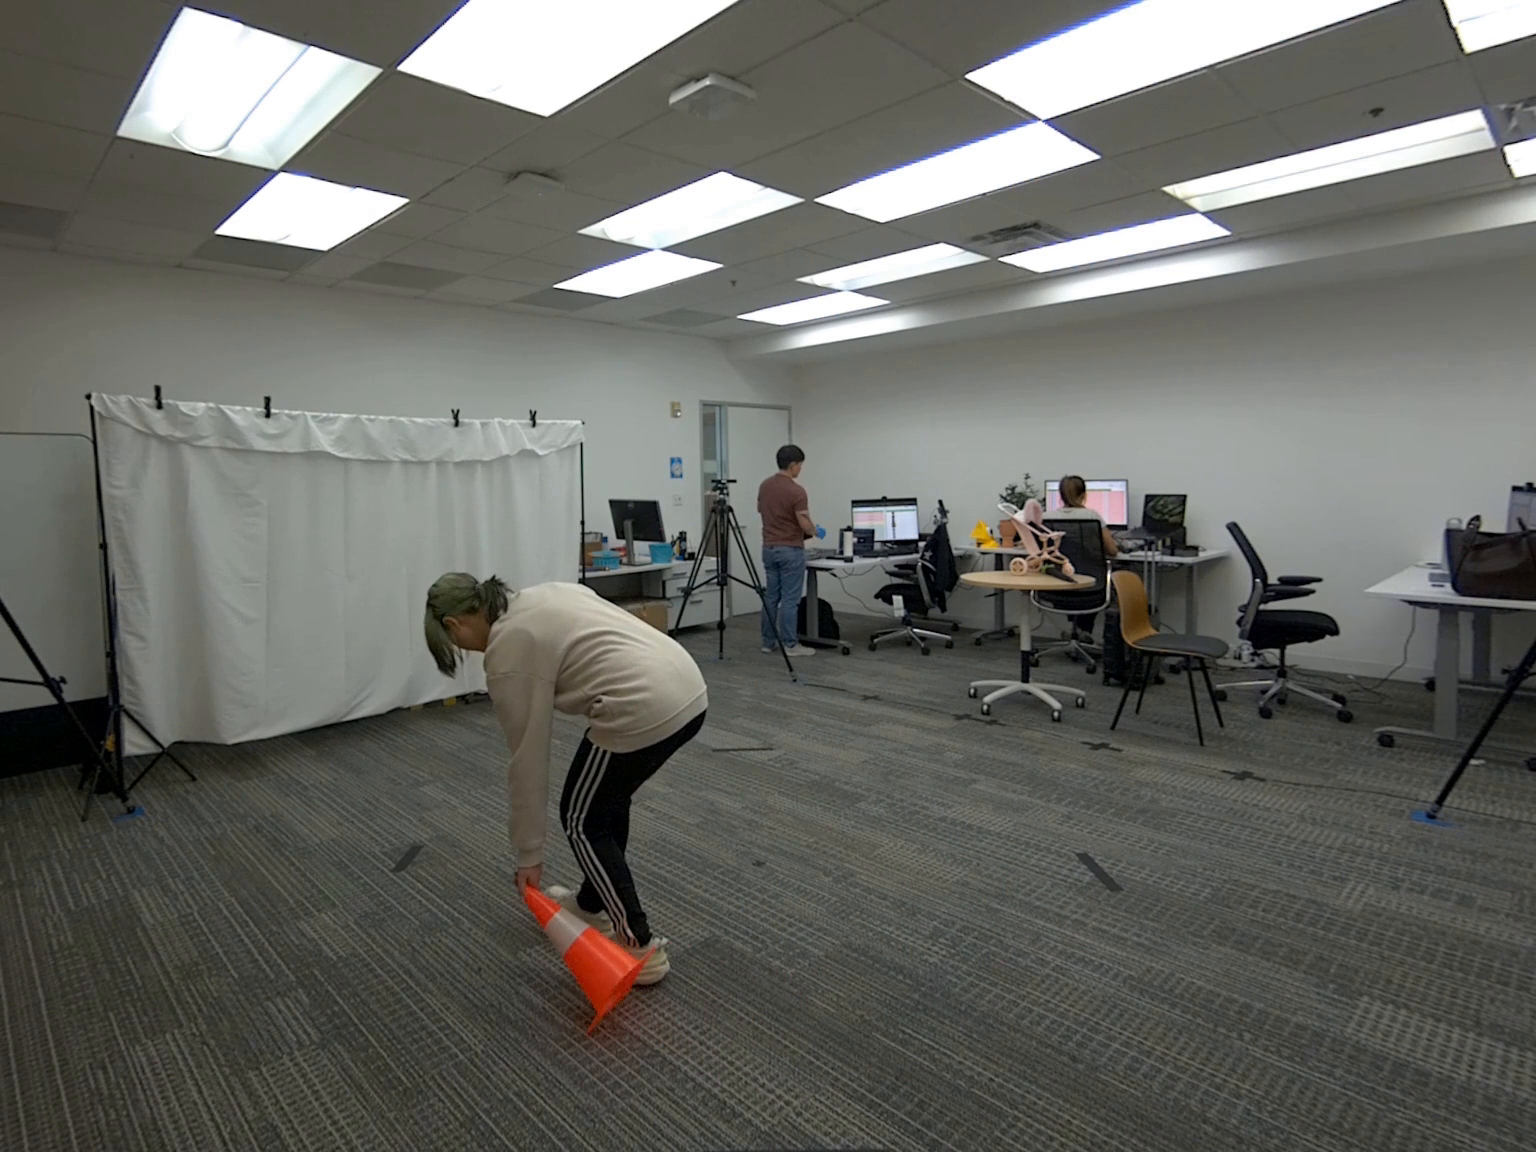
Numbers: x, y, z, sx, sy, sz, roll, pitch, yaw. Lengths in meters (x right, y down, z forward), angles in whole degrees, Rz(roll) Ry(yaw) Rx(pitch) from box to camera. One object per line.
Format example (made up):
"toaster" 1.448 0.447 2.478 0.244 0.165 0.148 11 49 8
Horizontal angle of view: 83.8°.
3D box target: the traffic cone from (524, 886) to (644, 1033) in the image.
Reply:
"traffic cone" -0.524 0.974 2.278 0.393 0.202 0.201 35 19 19
